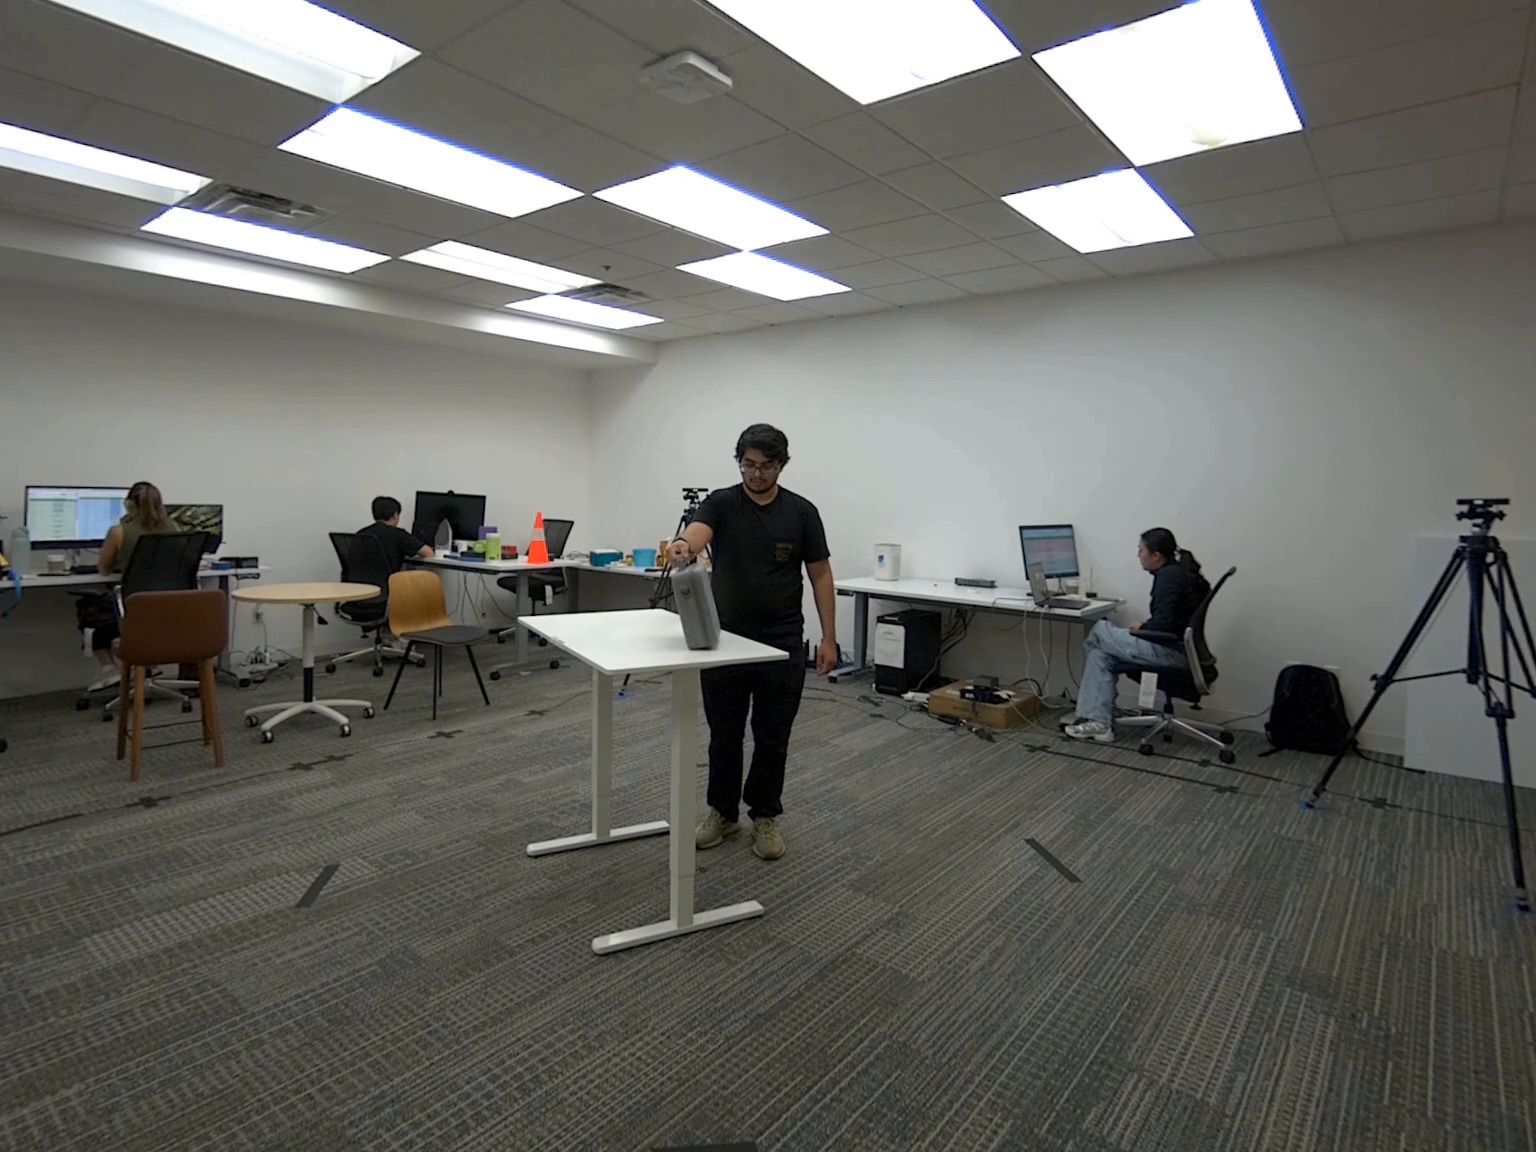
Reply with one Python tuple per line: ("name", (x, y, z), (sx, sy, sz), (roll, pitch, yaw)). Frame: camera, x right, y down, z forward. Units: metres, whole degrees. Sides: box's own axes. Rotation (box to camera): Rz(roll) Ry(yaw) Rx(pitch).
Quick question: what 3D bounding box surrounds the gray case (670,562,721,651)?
("gray case", (-0.229, 0.088, 2.776), (0.104, 0.260, 0.258), (-10, 4, -3))
